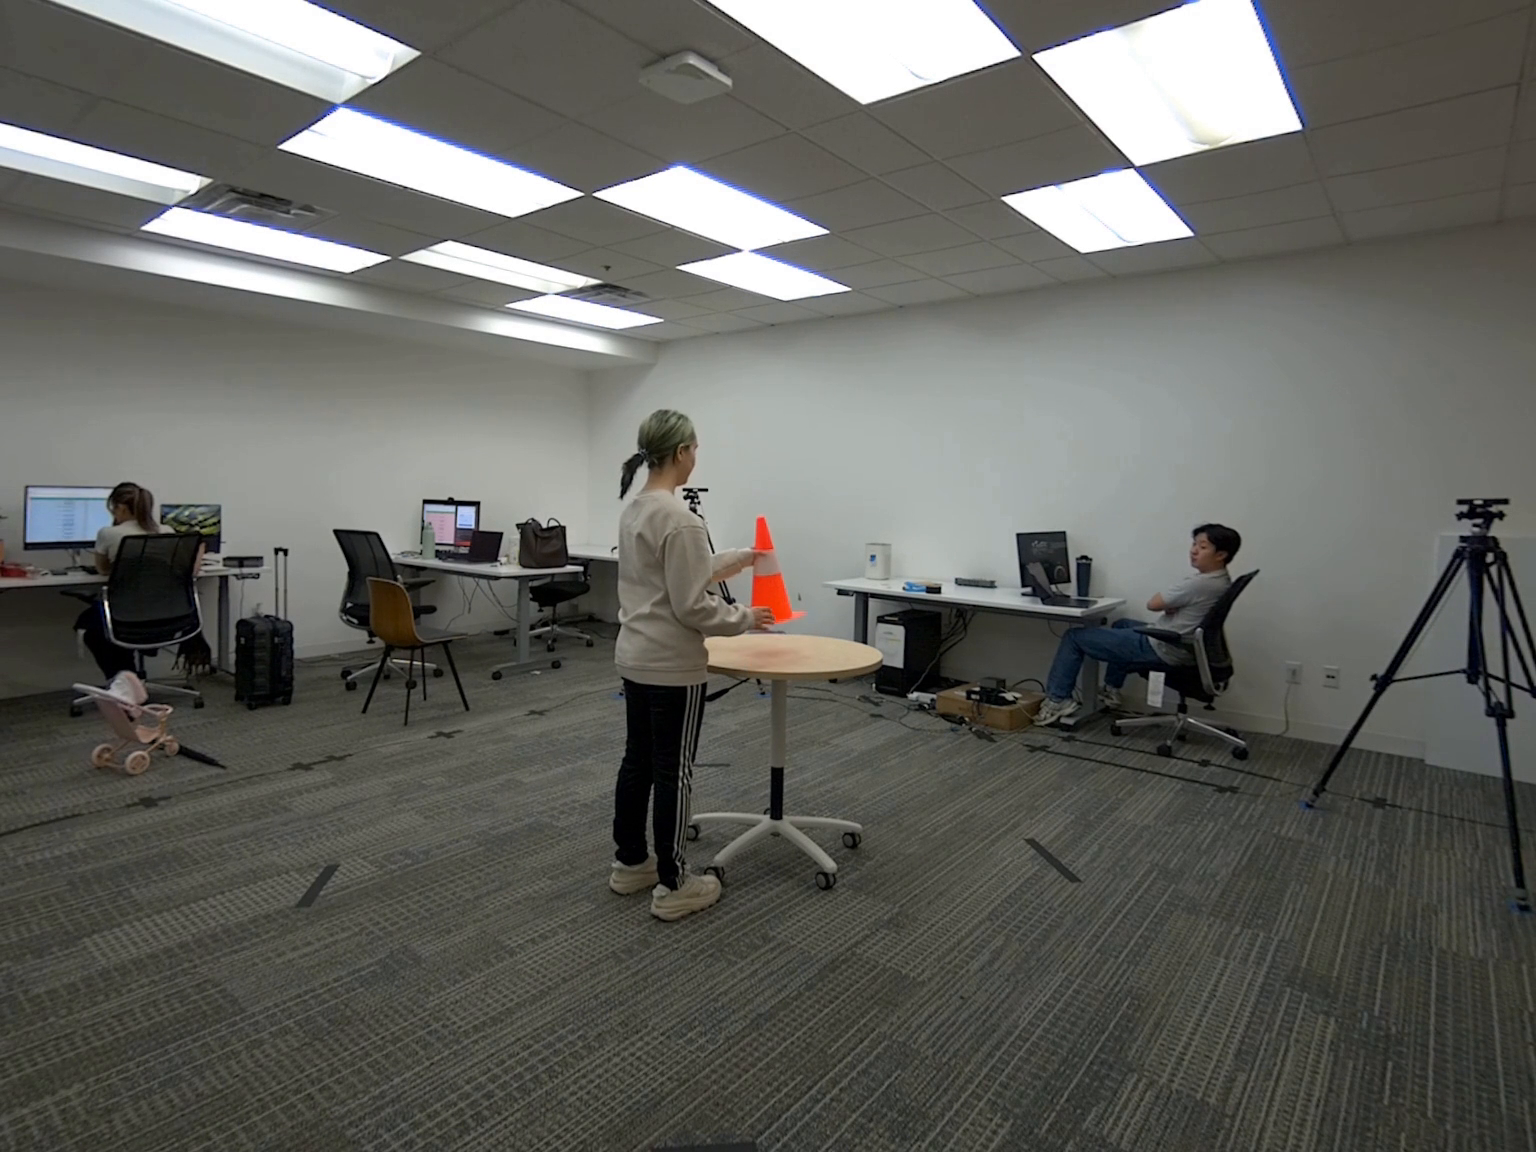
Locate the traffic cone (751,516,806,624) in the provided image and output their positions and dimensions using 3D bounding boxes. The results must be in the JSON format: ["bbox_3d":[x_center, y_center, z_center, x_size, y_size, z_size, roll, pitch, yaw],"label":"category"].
[{"bbox_3d":[-0.011,-0.029,3.152,0.211,0.380,0.199,1,10,34],"label":"traffic cone"}]
